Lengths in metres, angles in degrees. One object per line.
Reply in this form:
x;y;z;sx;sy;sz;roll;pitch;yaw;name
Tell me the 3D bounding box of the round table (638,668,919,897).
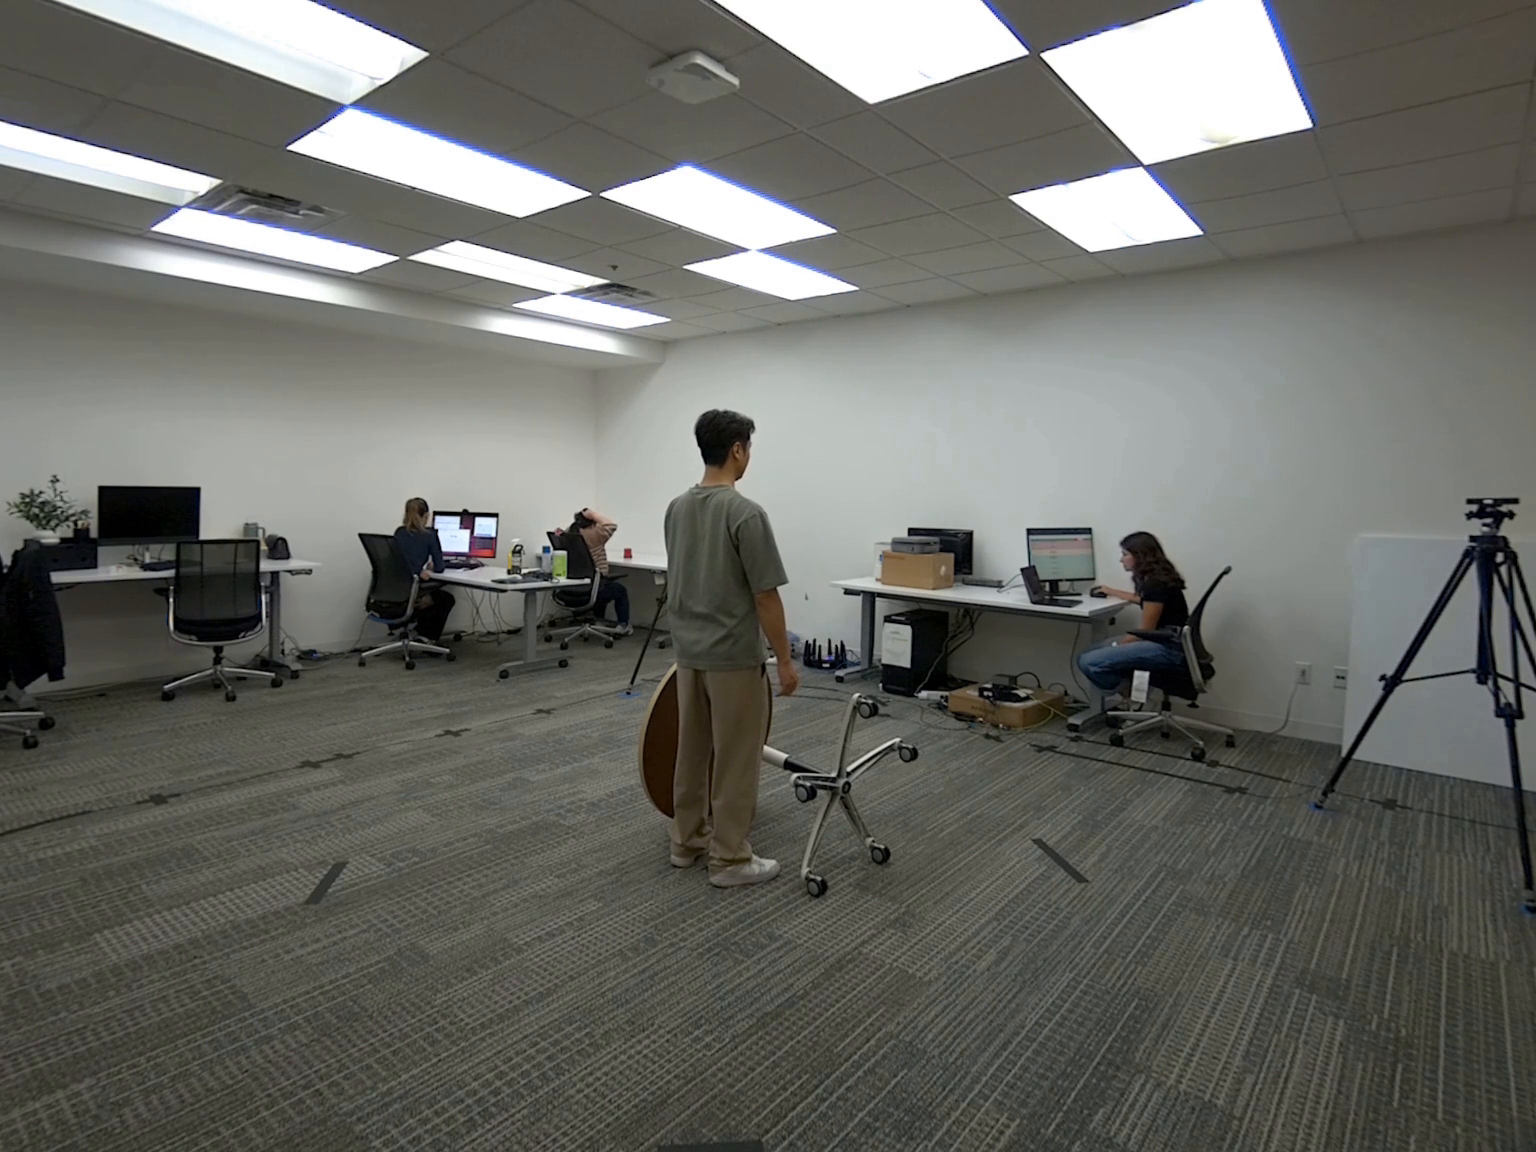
0.045;0.712;3.291;0.816;0.780;0.761;13;11;41;round table
